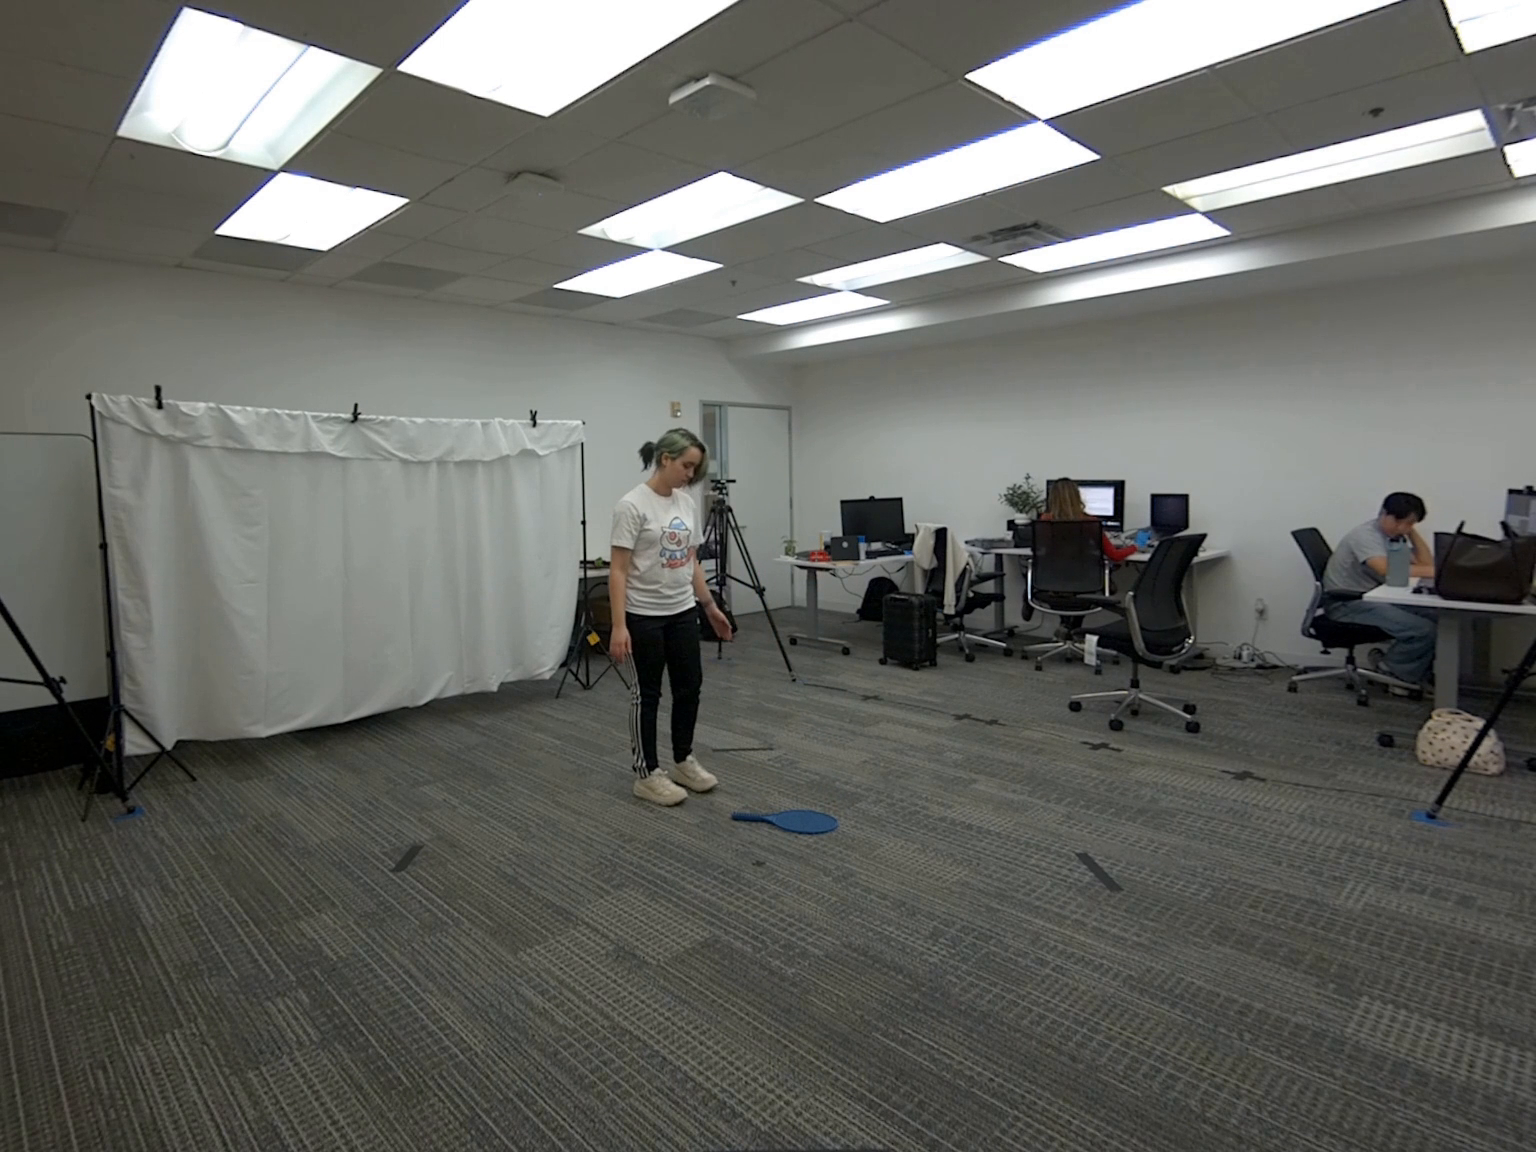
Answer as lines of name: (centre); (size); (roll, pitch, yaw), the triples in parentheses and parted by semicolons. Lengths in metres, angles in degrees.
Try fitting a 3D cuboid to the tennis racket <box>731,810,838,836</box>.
tennis racket: (0.066, 0.990, 3.477); (0.436, 0.031, 0.213); (1, 7, 7)
